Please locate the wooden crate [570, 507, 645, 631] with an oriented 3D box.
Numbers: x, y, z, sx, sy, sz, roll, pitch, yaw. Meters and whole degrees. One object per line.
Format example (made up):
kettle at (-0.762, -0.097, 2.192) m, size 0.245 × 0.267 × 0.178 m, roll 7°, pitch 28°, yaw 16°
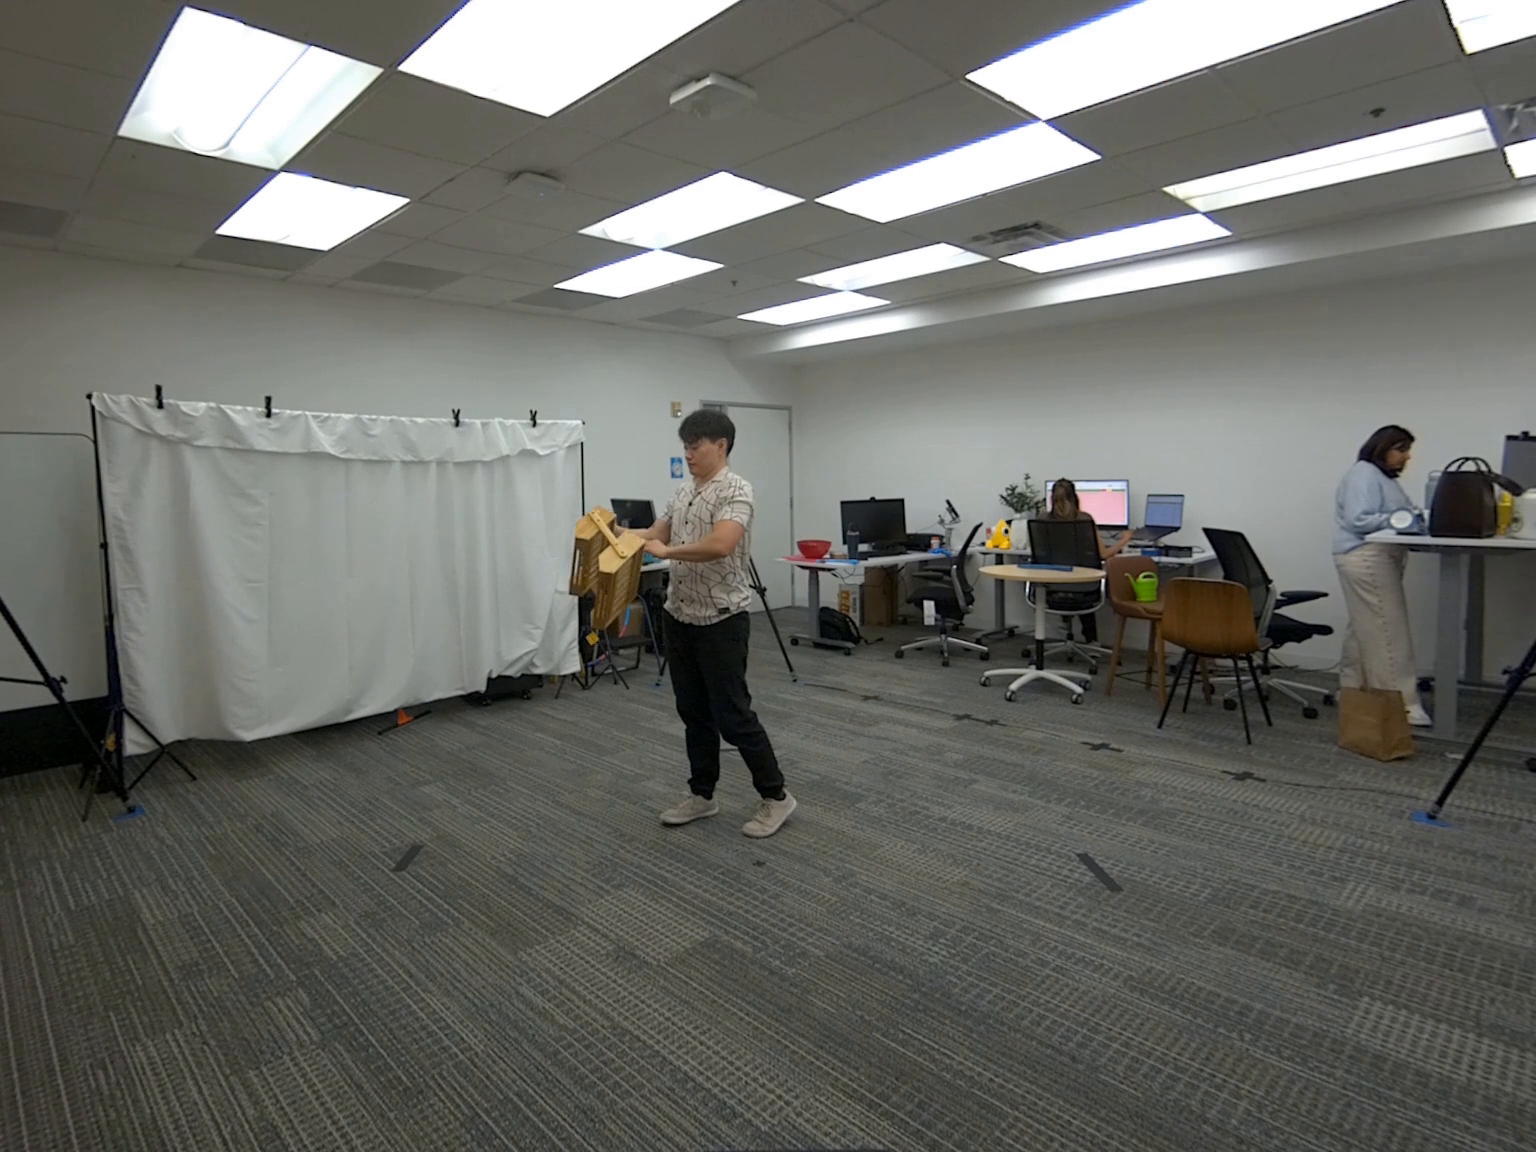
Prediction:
wooden crate at (-0.655, -0.033, 3.277) m, size 0.278 × 0.318 × 0.302 m, roll 28°, pitch 41°, yaw 13°
